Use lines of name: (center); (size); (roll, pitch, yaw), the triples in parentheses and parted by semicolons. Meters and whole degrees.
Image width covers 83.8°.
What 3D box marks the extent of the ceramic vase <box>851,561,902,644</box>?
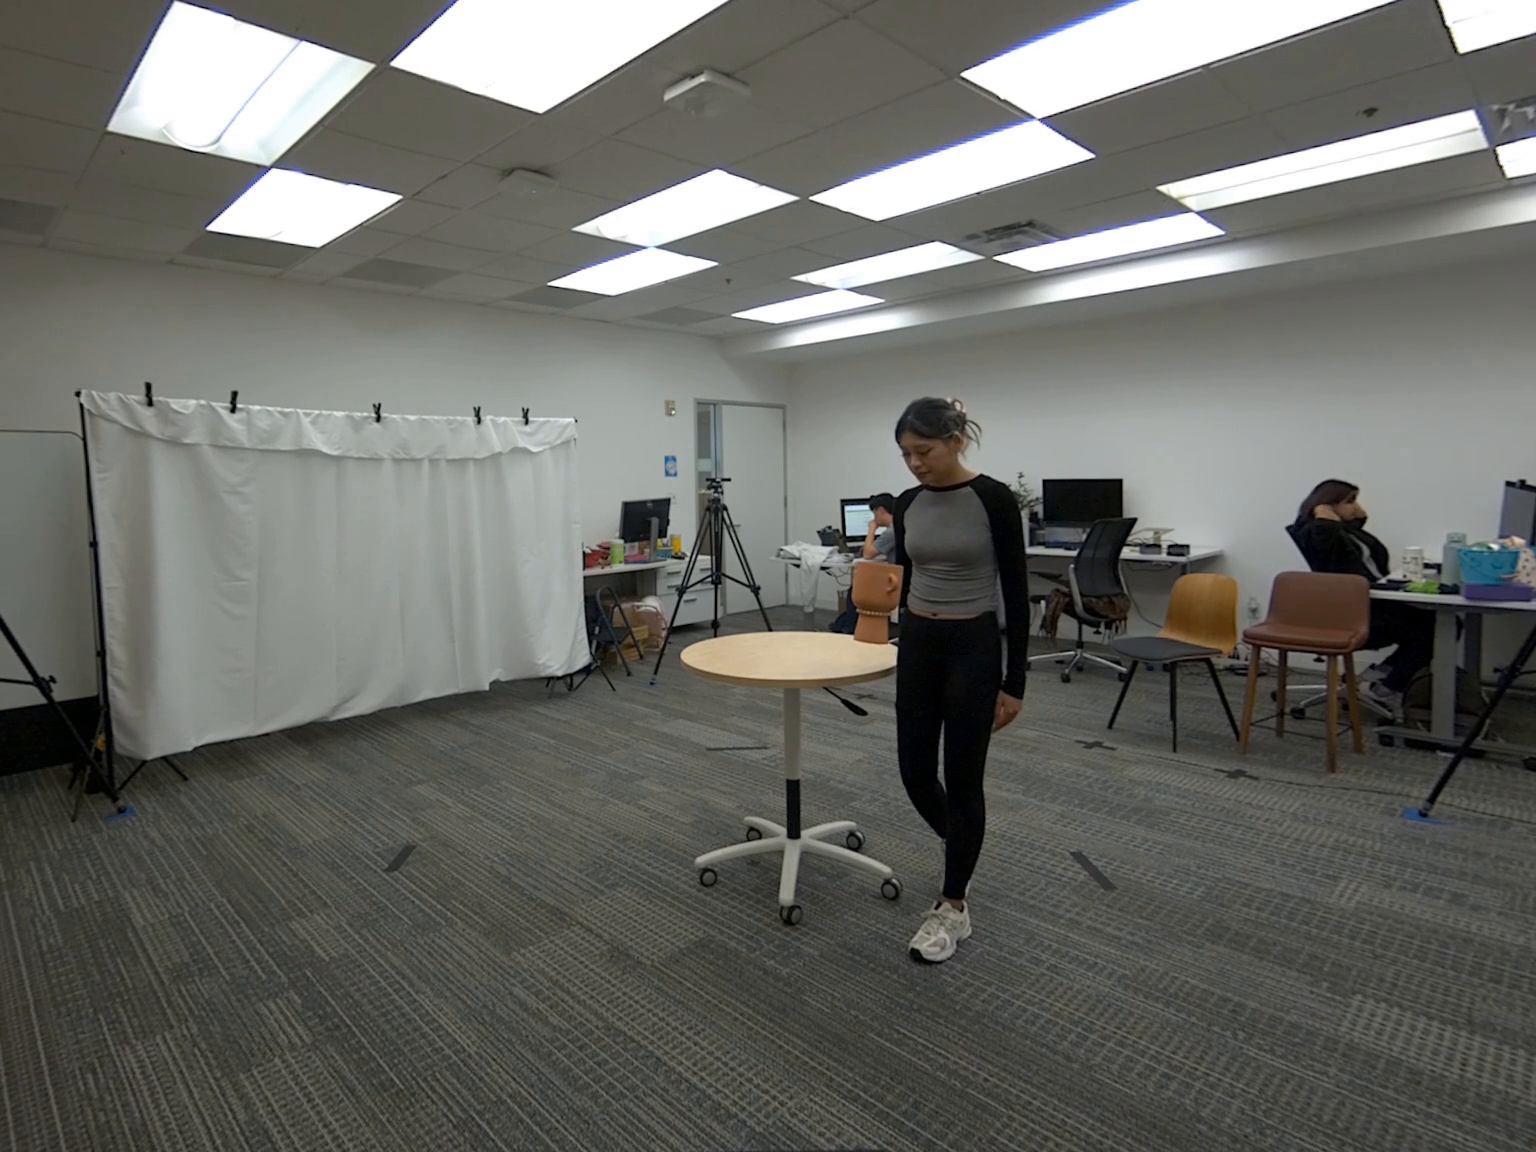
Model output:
ceramic vase: (0.319, 0.077, 2.384); (0.138, 0.219, 0.155); (7, 2, 23)
